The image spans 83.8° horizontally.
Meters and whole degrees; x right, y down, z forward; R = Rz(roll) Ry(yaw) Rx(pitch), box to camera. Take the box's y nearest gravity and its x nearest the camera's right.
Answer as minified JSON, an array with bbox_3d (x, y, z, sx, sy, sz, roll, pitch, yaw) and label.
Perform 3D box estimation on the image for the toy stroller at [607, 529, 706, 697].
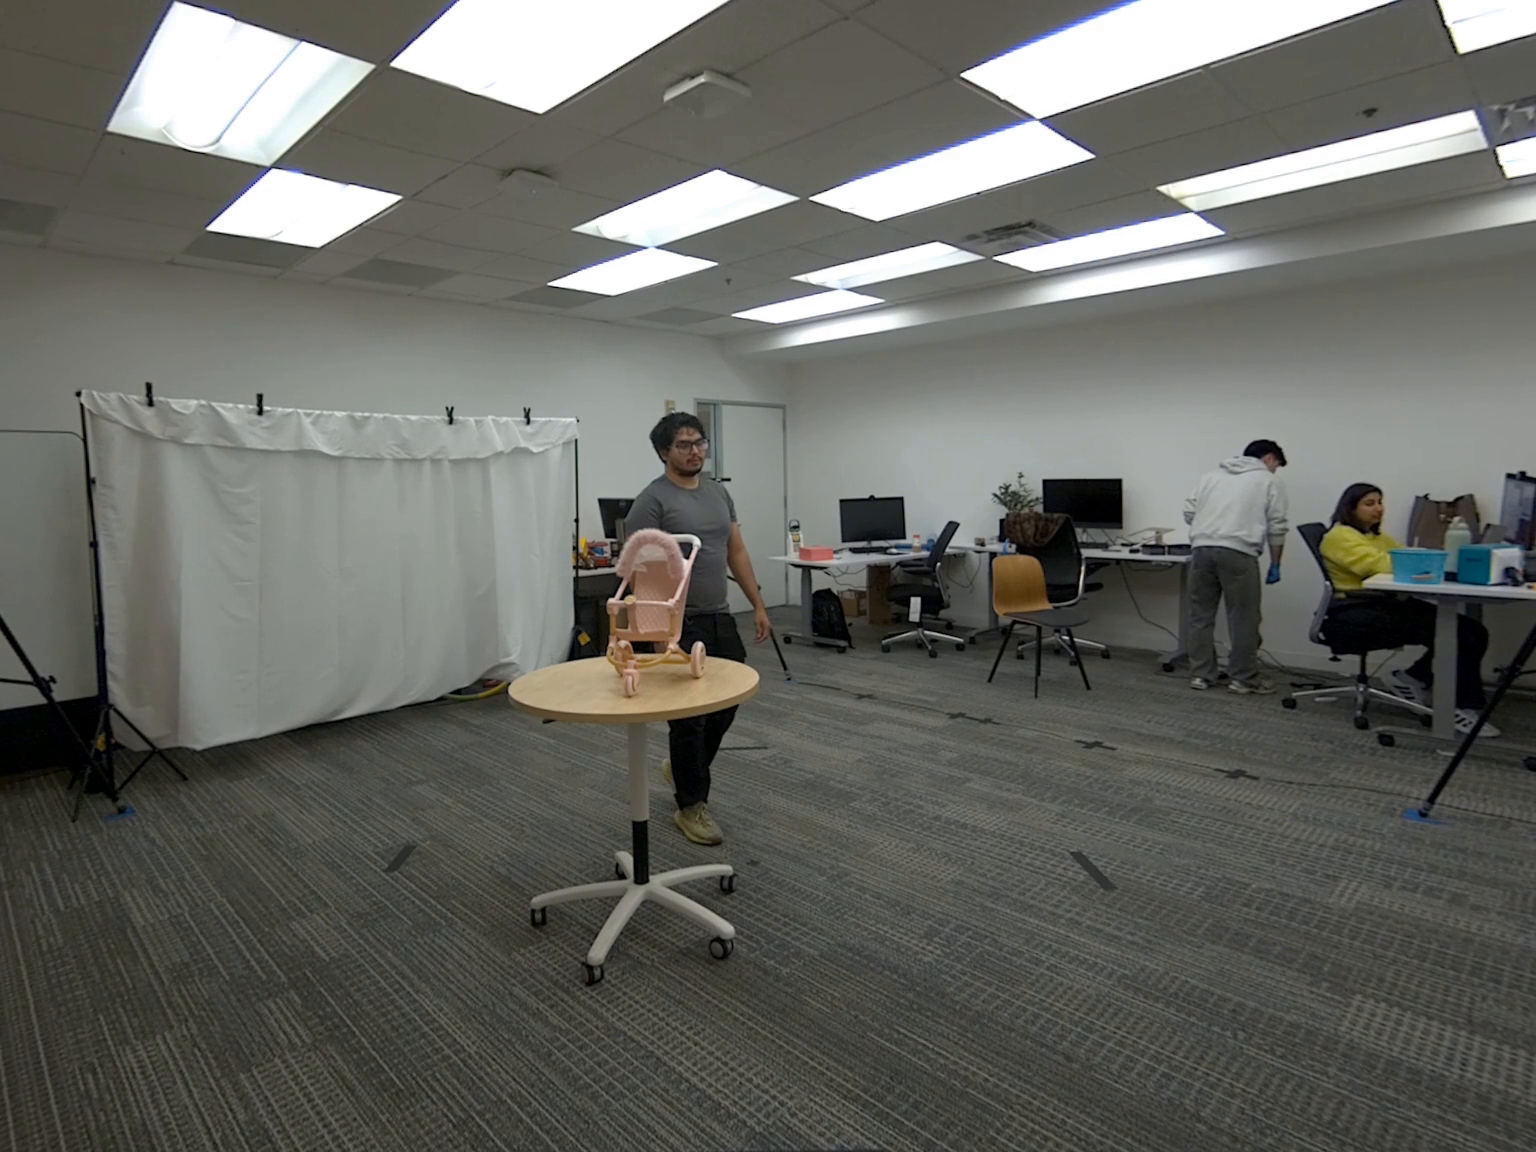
[{"bbox_3d":[-0.361,0.103,2.603,0.286,0.540,0.332,-1,-11,17],"label":"toy stroller"}]
